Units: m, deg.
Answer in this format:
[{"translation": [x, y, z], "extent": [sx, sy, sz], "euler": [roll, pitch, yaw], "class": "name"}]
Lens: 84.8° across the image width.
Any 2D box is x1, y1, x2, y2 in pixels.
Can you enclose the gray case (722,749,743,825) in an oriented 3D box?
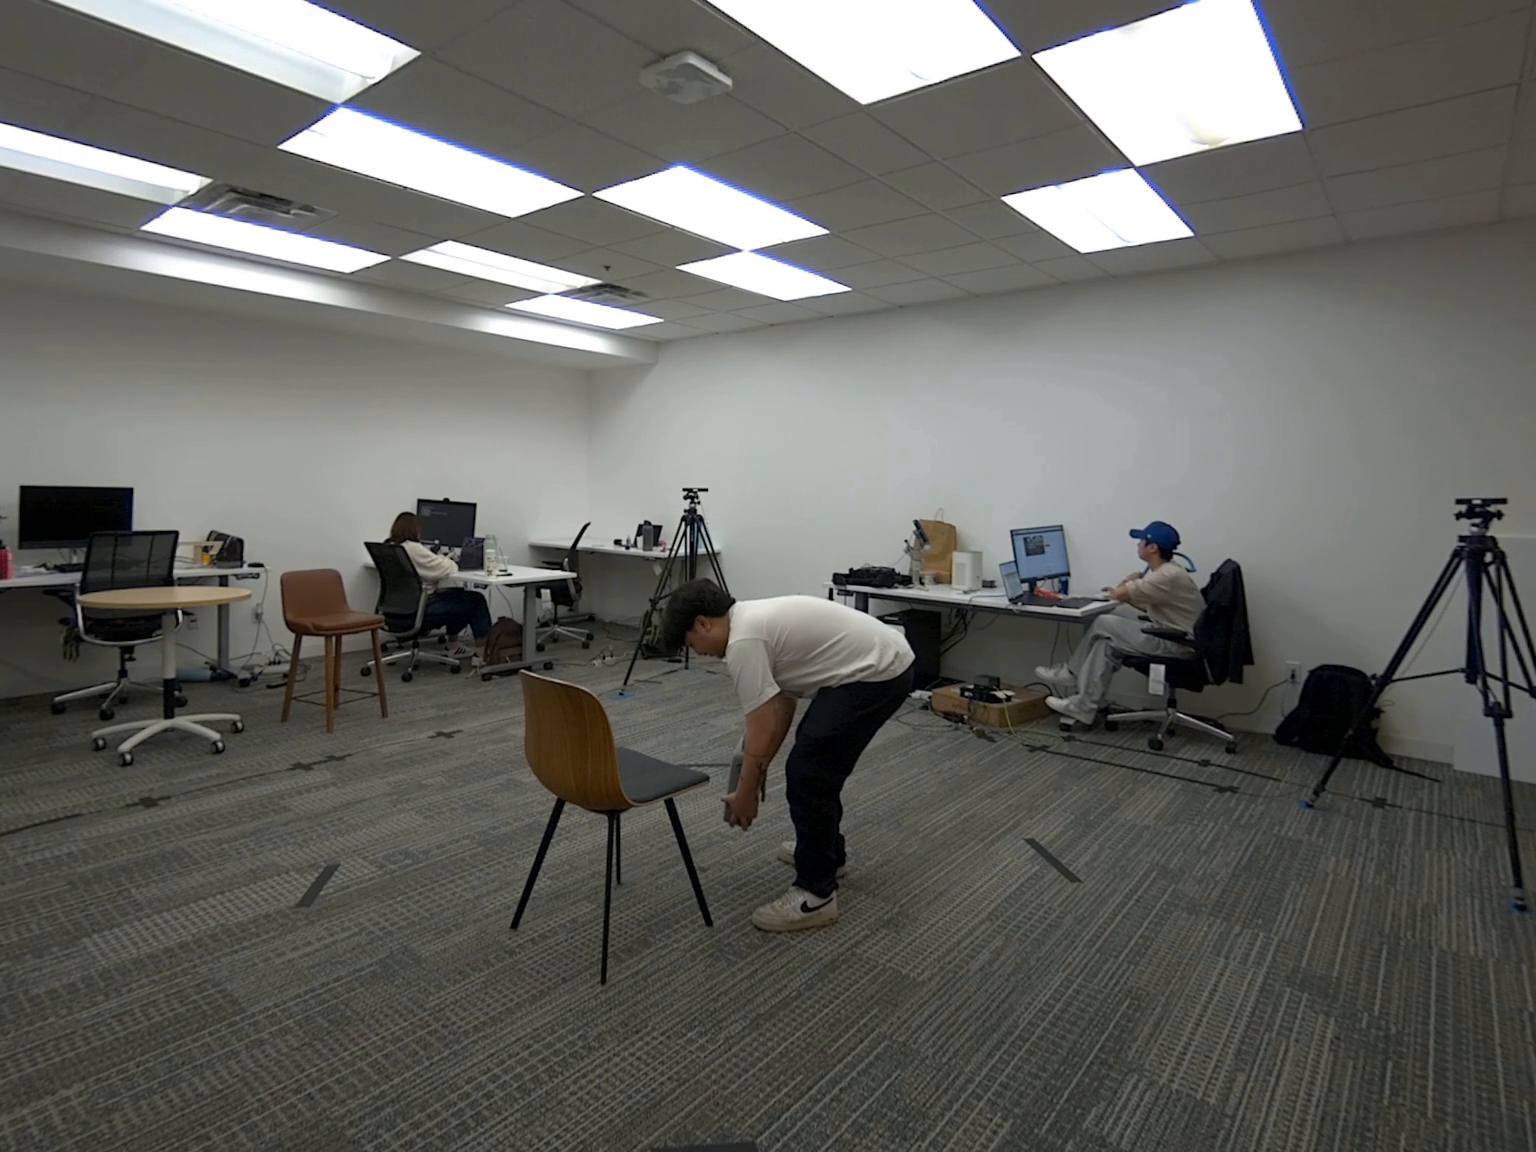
[{"translation": [-0.082, 0.712, 3.007], "extent": [0.105, 0.260, 0.256], "euler": [2, 3, 4], "class": "gray case"}]
